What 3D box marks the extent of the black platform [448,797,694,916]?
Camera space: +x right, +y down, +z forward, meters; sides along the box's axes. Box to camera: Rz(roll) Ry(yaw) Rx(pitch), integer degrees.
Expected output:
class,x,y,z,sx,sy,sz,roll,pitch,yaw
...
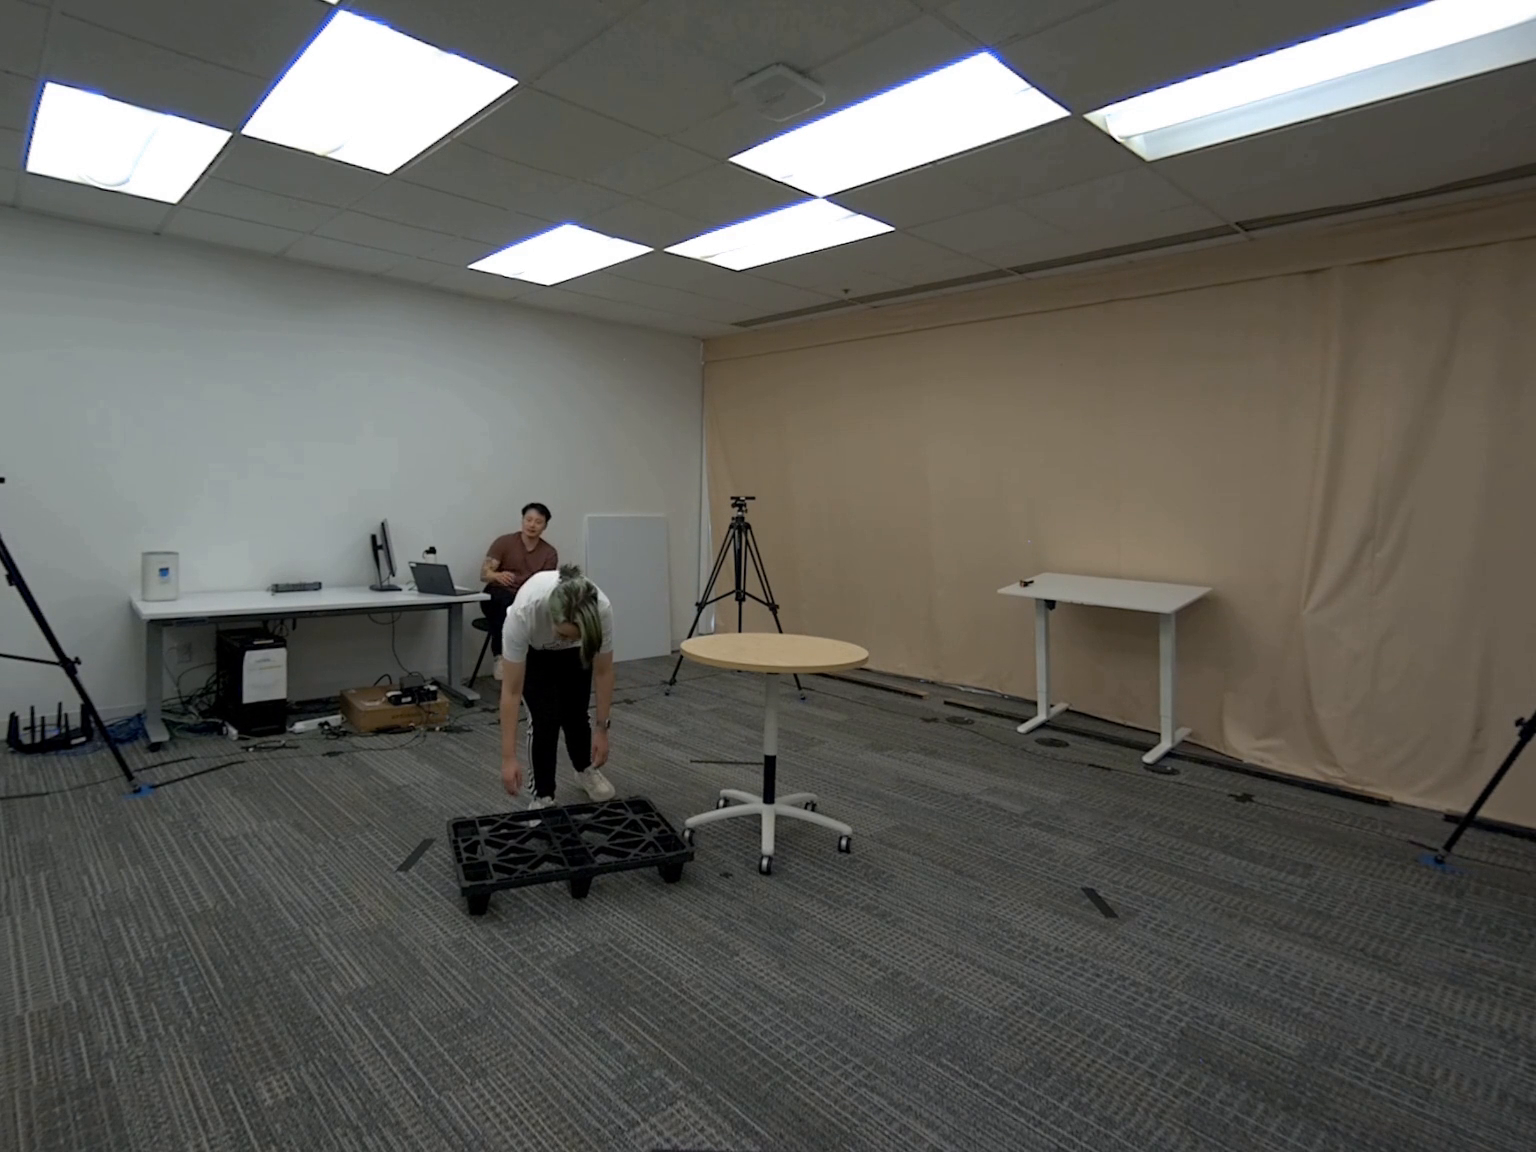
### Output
class,x,y,z,sx,sy,sz,roll,pitch,yaw
black platform,-0.756,1.022,3.111,0.791,0.143,0.617,-1,5,-24
